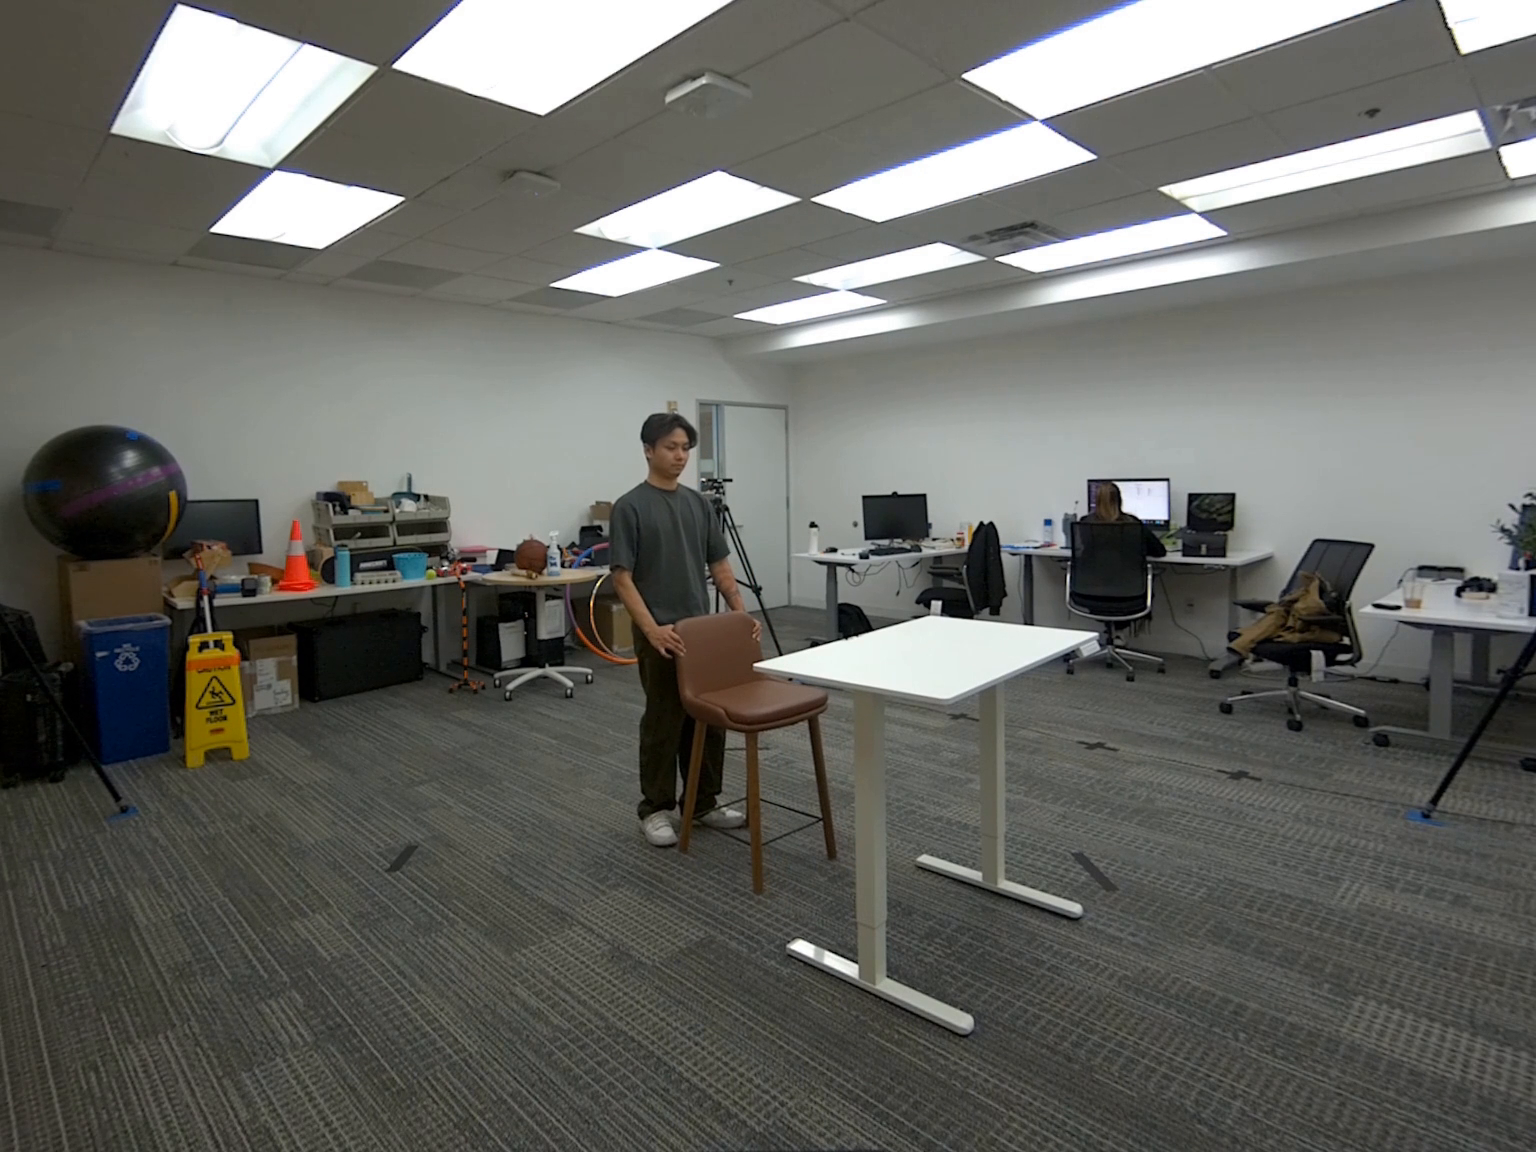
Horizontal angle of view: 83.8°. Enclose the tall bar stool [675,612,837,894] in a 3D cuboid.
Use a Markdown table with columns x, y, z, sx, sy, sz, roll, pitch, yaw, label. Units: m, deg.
| x | y | z | sx | sy | sz | roll | pitch | yaw | label |
| --- | --- | --- | --- | --- | --- | --- | --- | --- | --- |
| -0.056 | 0.603 | 3.148 | 0.444 | 0.888 | 0.481 | -4 | 3 | -43 | tall bar stool |
